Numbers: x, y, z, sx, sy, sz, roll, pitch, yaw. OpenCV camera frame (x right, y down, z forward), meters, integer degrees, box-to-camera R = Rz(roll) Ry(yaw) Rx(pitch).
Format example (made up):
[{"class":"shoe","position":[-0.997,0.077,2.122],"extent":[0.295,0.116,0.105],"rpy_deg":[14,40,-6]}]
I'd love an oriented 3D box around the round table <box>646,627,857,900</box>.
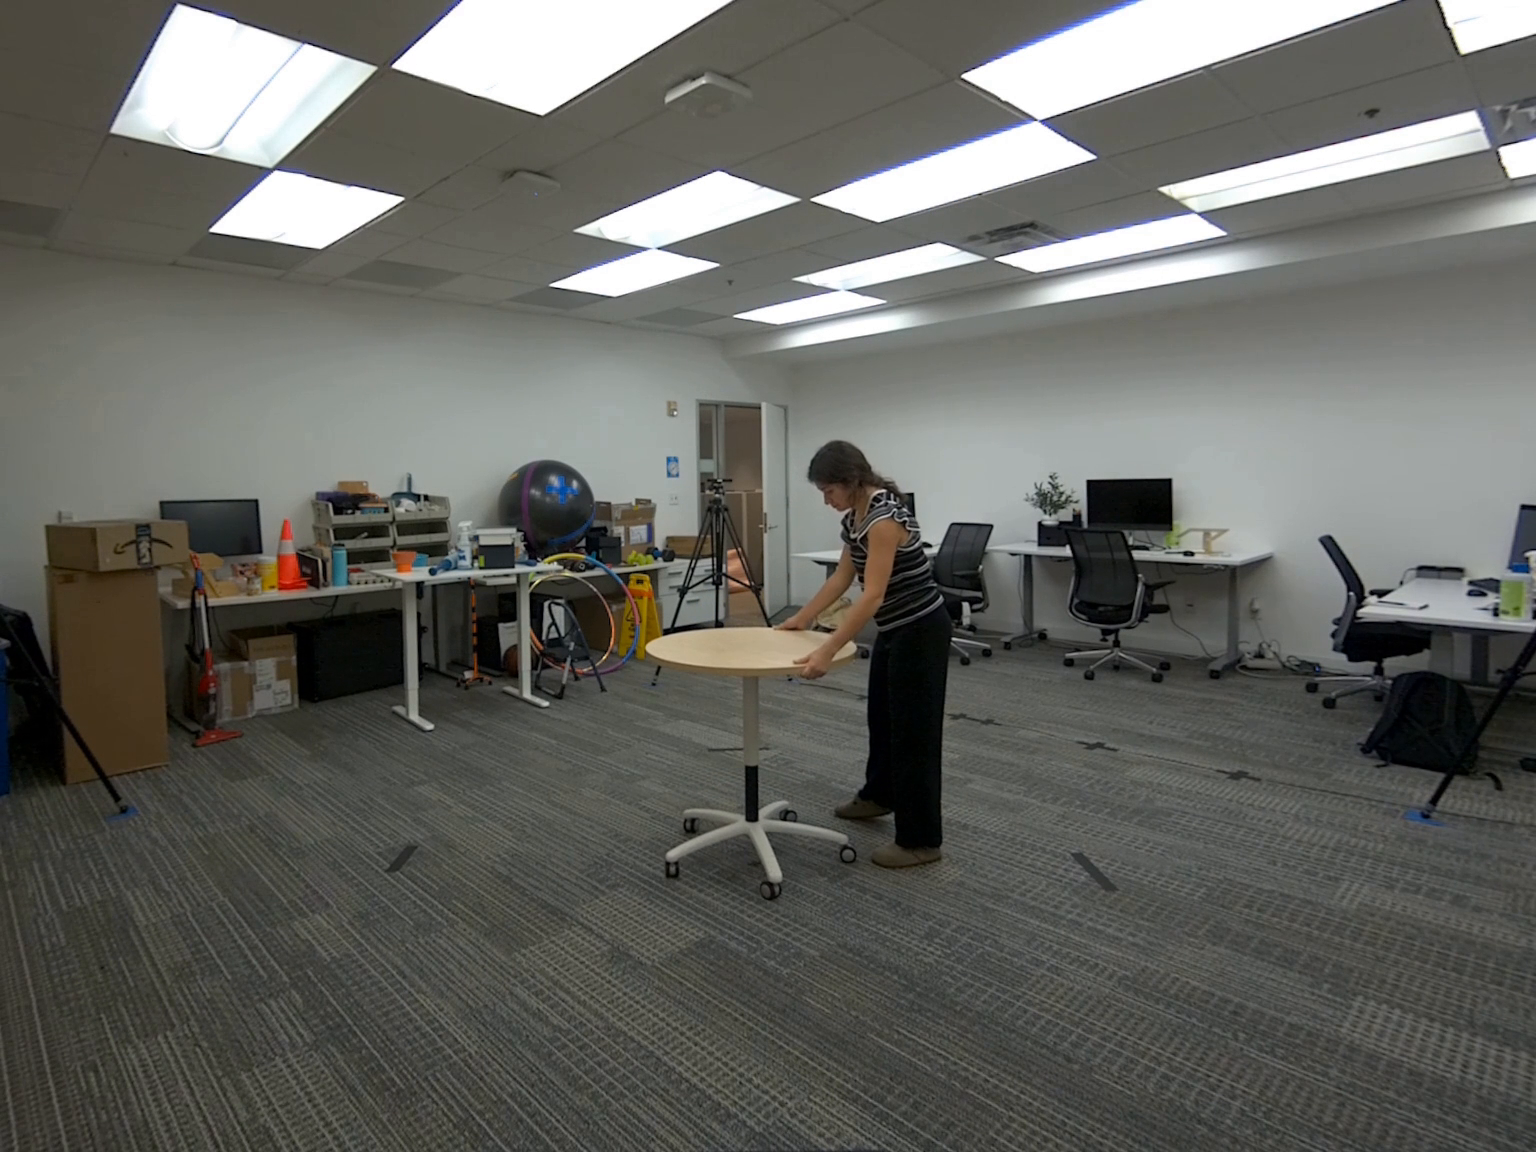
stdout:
[{"class":"round table","position":[-0.051,0.642,3.135],"extent":[0.784,0.783,0.789],"rpy_deg":[-1,5,-2]}]
